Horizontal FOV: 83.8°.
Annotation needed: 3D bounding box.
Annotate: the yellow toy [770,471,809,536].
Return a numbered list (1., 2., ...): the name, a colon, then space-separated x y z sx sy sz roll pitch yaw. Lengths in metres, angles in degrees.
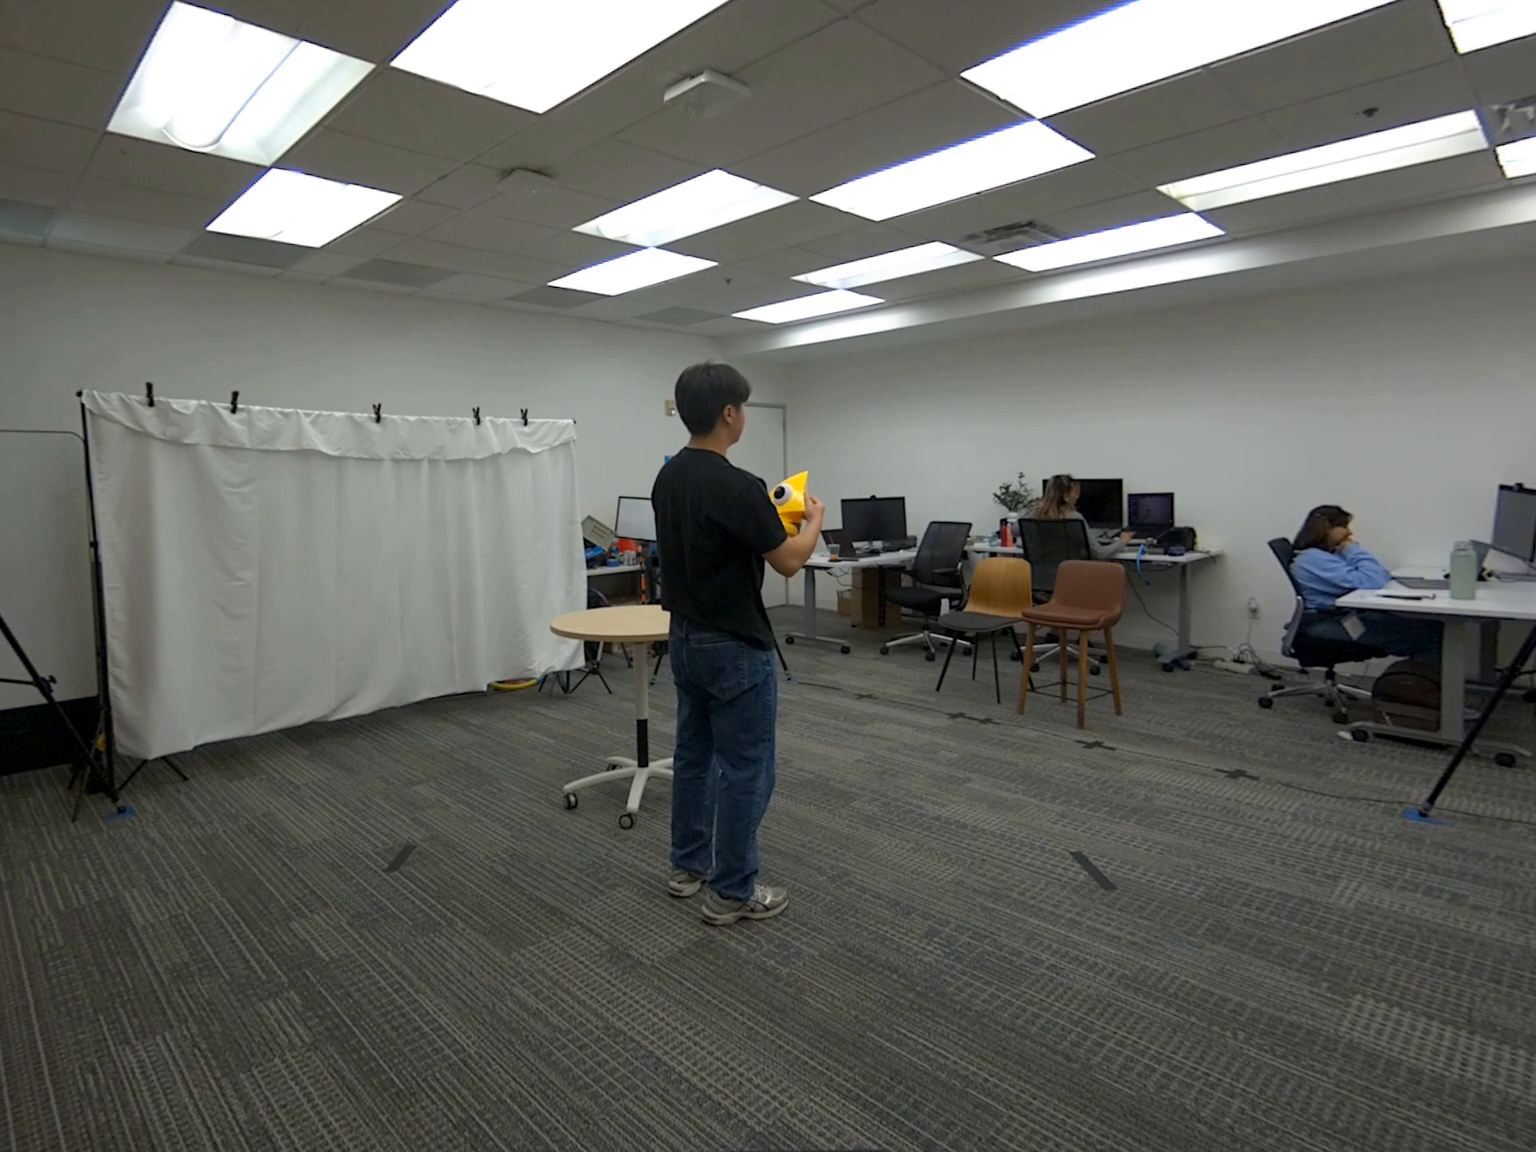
1. yellow toy: 0.060 -0.260 2.972 0.195 0.231 0.202 12 -3 10
